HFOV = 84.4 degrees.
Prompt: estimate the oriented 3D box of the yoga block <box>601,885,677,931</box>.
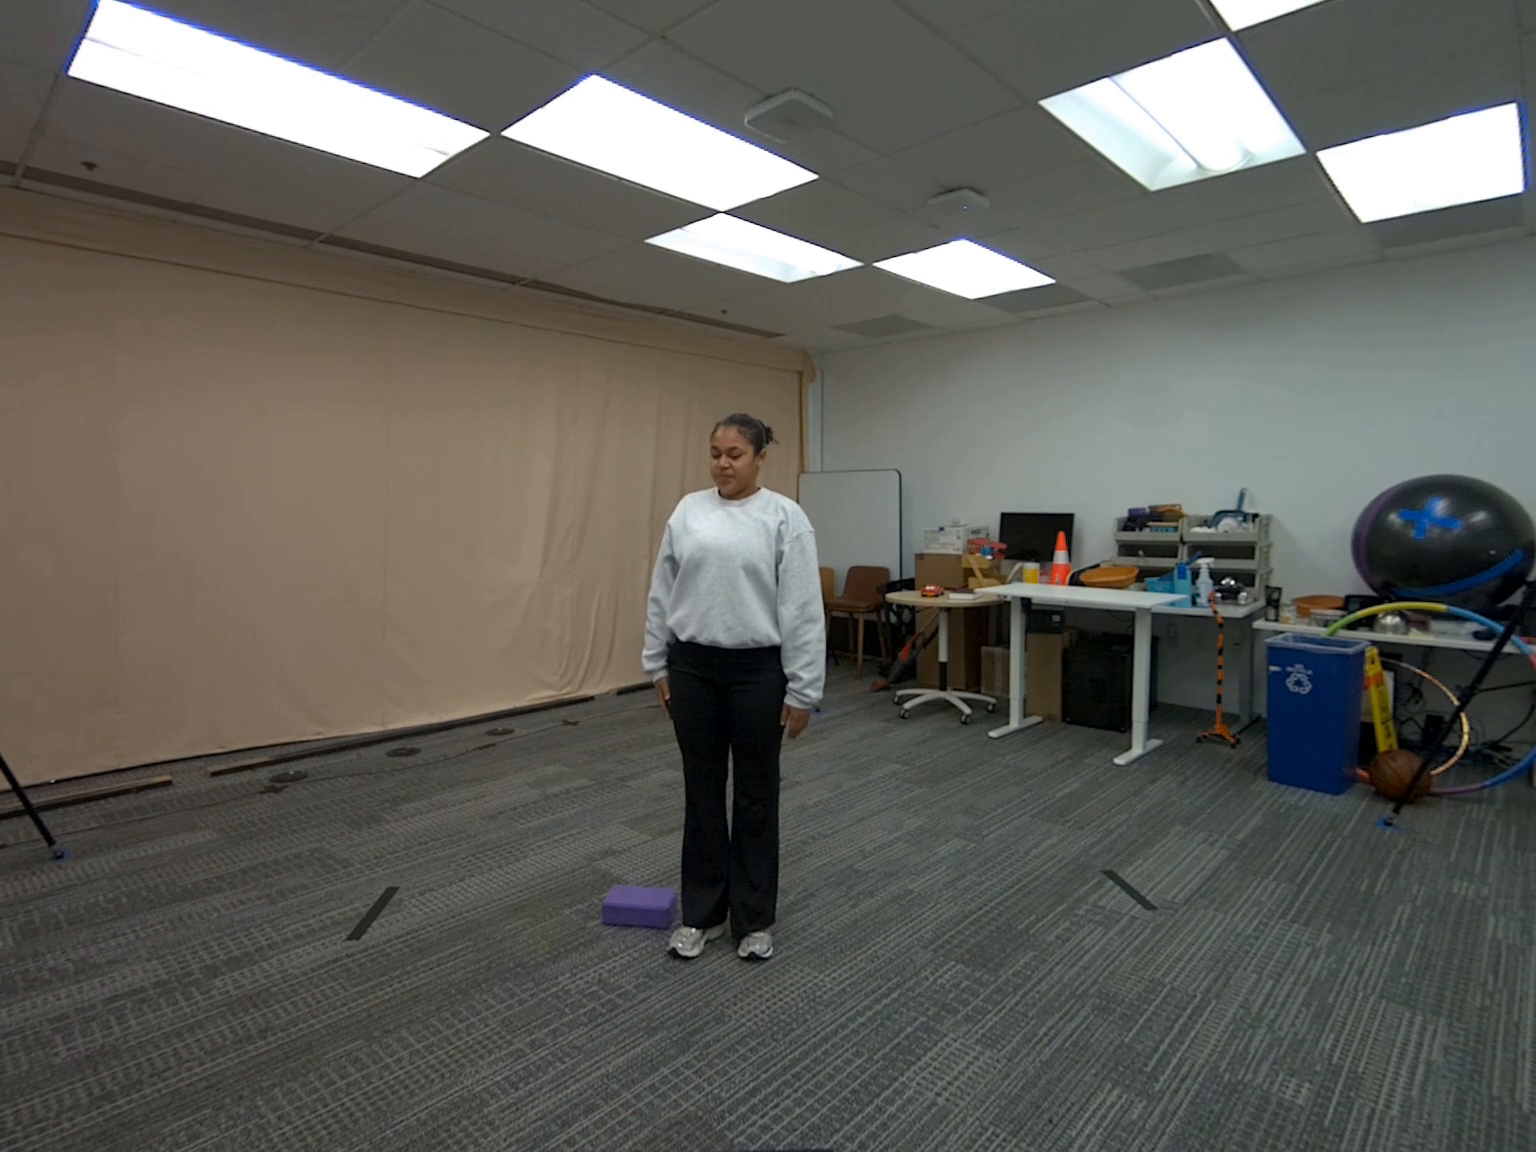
[{"bbox_3d":[-0.429,1.114,2.849,0.232,0.076,0.148,0,3,8],"label":"yoga block"}]
